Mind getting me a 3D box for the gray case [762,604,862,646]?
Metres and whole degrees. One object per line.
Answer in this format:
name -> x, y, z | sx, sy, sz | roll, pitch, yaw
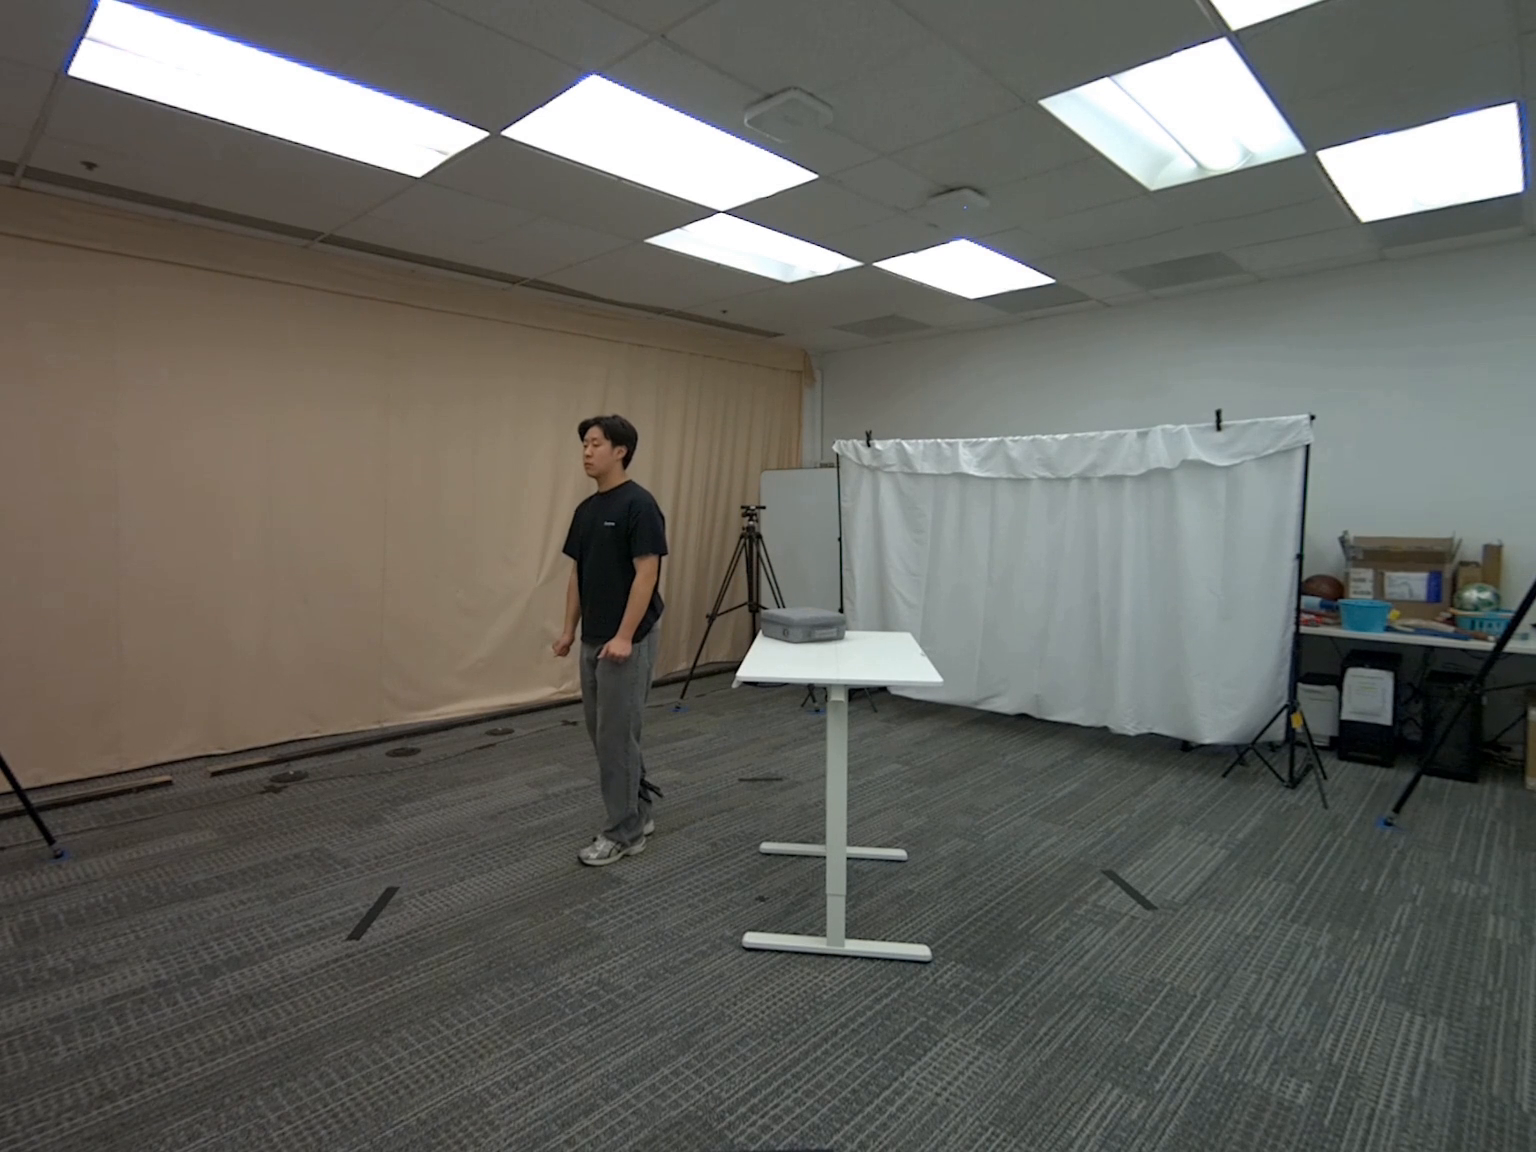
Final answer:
gray case -> 0.164, 0.181, 3.247 | 0.281, 0.103, 0.269 | -4, 5, -22
